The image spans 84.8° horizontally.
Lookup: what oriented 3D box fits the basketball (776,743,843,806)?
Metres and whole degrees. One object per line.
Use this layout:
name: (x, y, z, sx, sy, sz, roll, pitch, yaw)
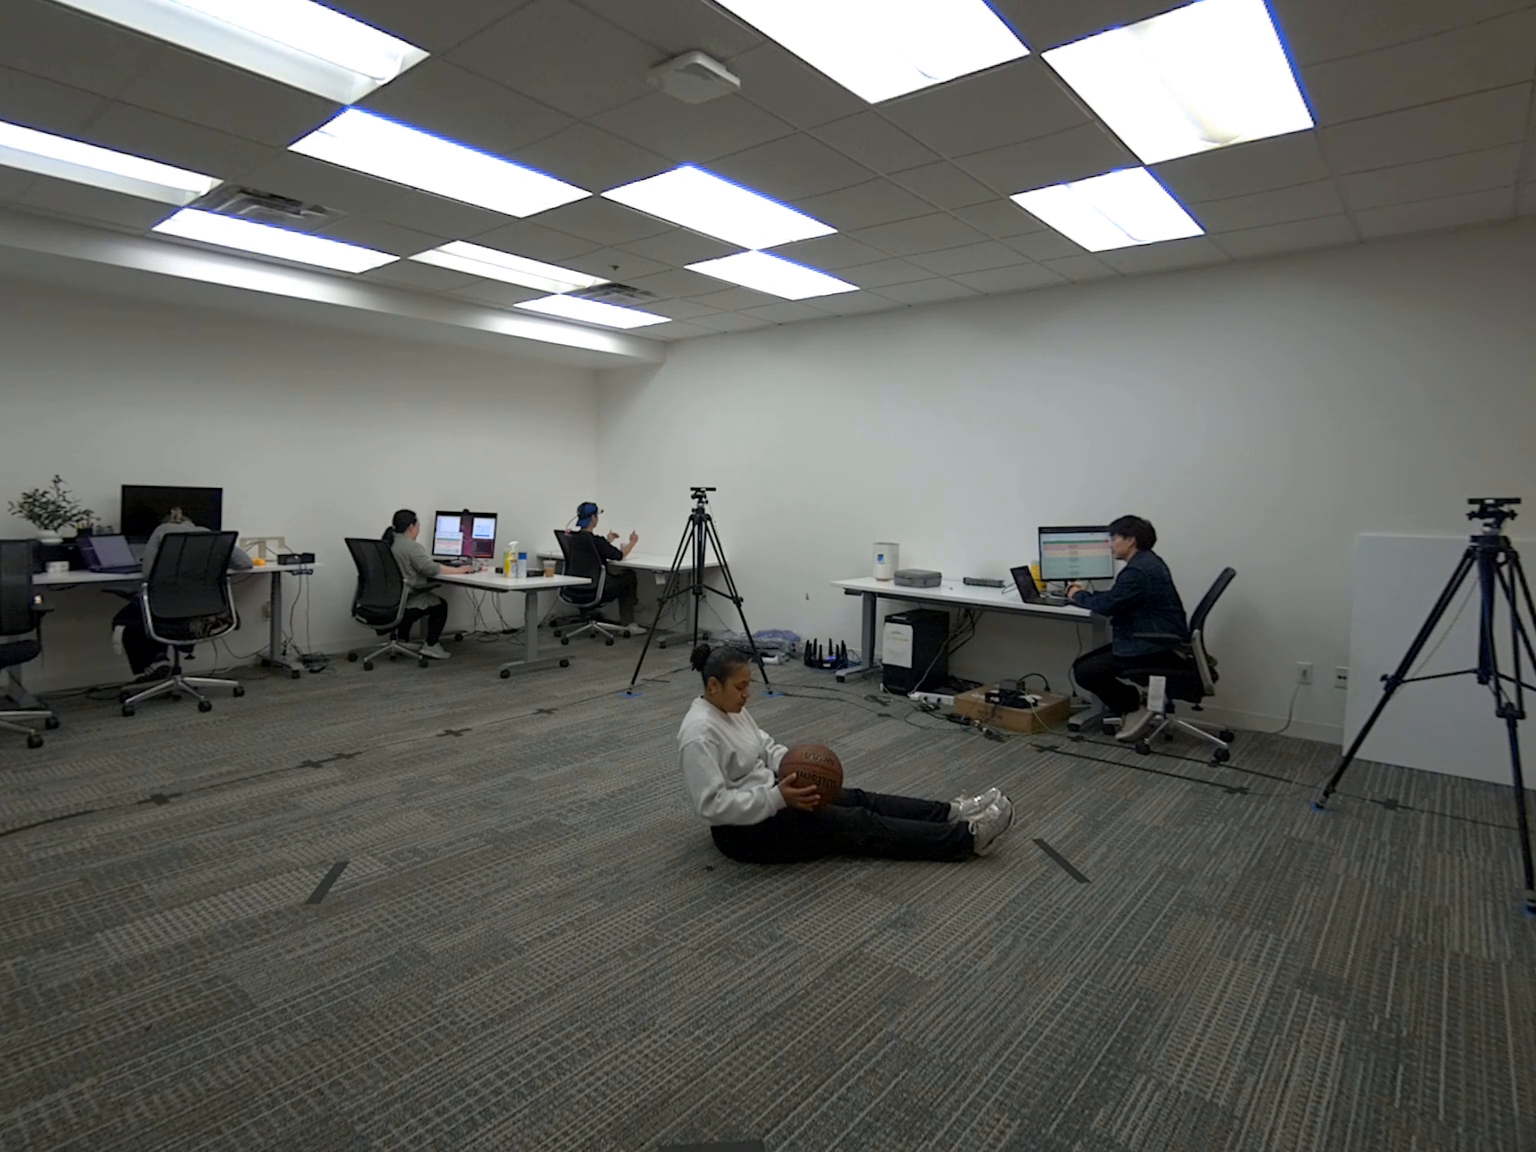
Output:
basketball: (0.135, 0.727, 3.106, 0.235, 0.235, 0.237, 1, 4, -2)
